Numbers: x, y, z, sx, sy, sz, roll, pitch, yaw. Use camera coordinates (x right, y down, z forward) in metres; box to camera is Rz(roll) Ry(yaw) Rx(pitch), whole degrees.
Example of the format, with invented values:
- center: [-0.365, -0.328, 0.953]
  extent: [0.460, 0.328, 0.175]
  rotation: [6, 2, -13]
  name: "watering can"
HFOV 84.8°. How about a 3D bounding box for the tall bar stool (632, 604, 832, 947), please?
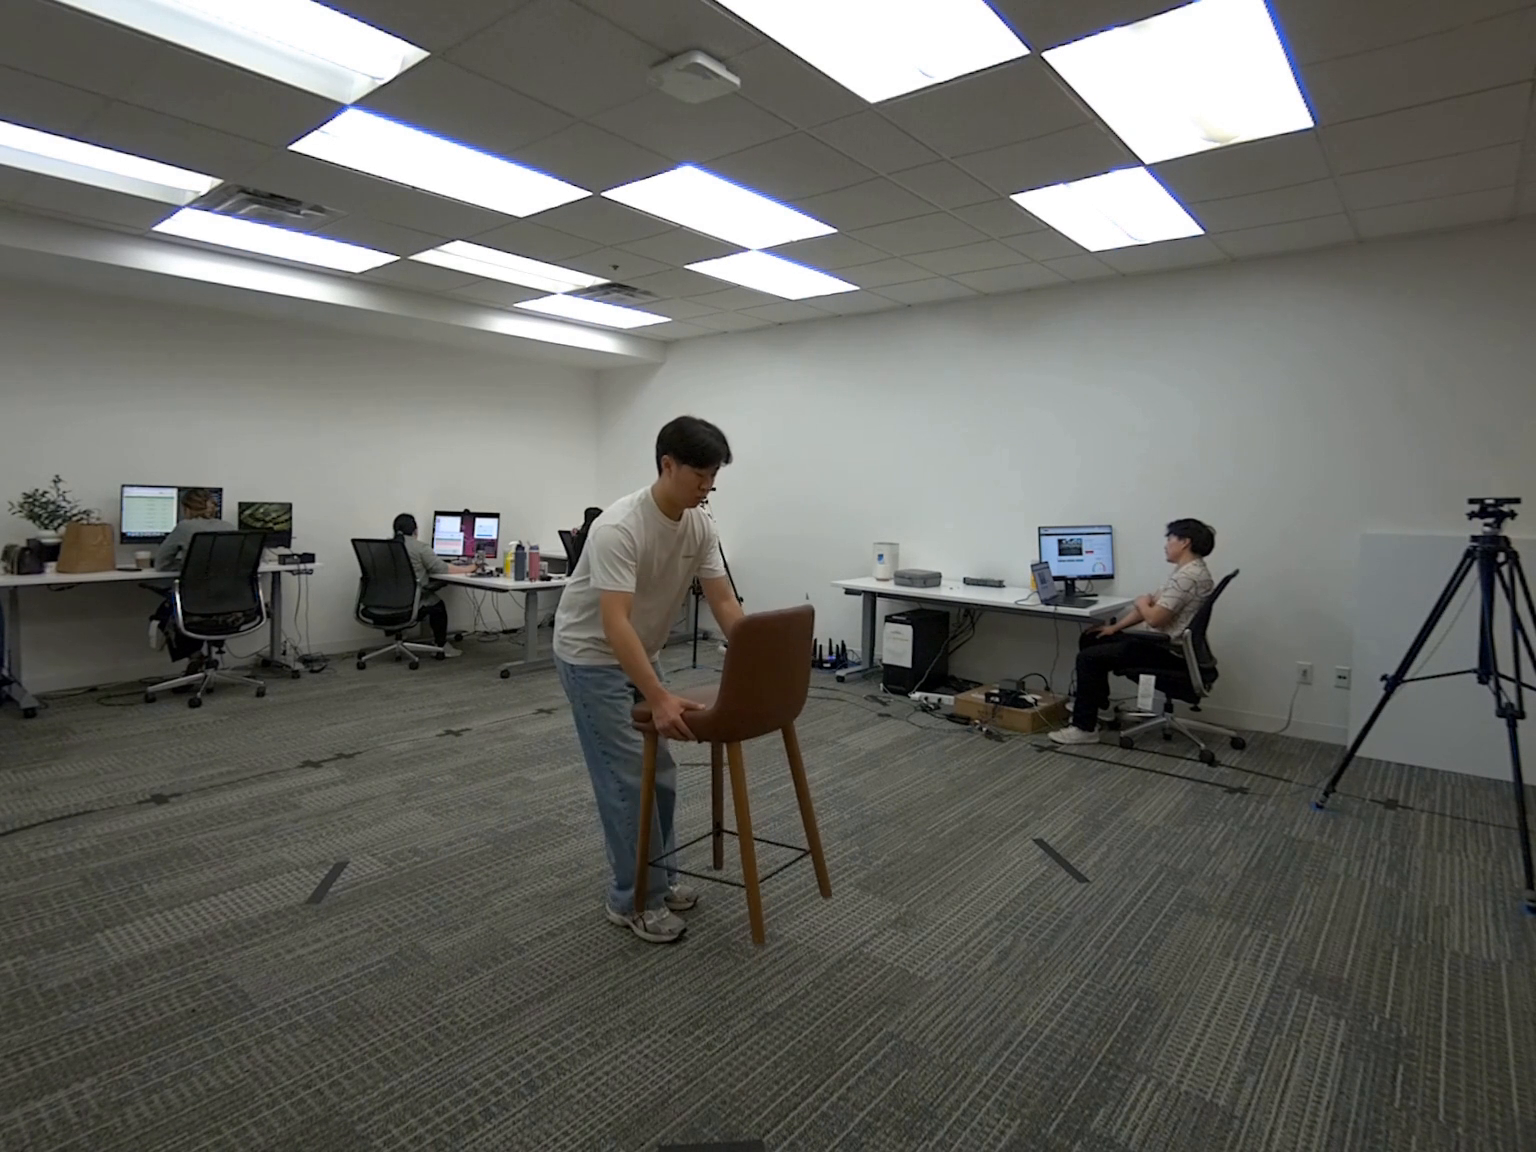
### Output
- center: [-0.132, 0.540, 2.527]
  extent: [0.481, 0.889, 0.443]
  rotation: [-2, 1, 36]
  name: "tall bar stool"
